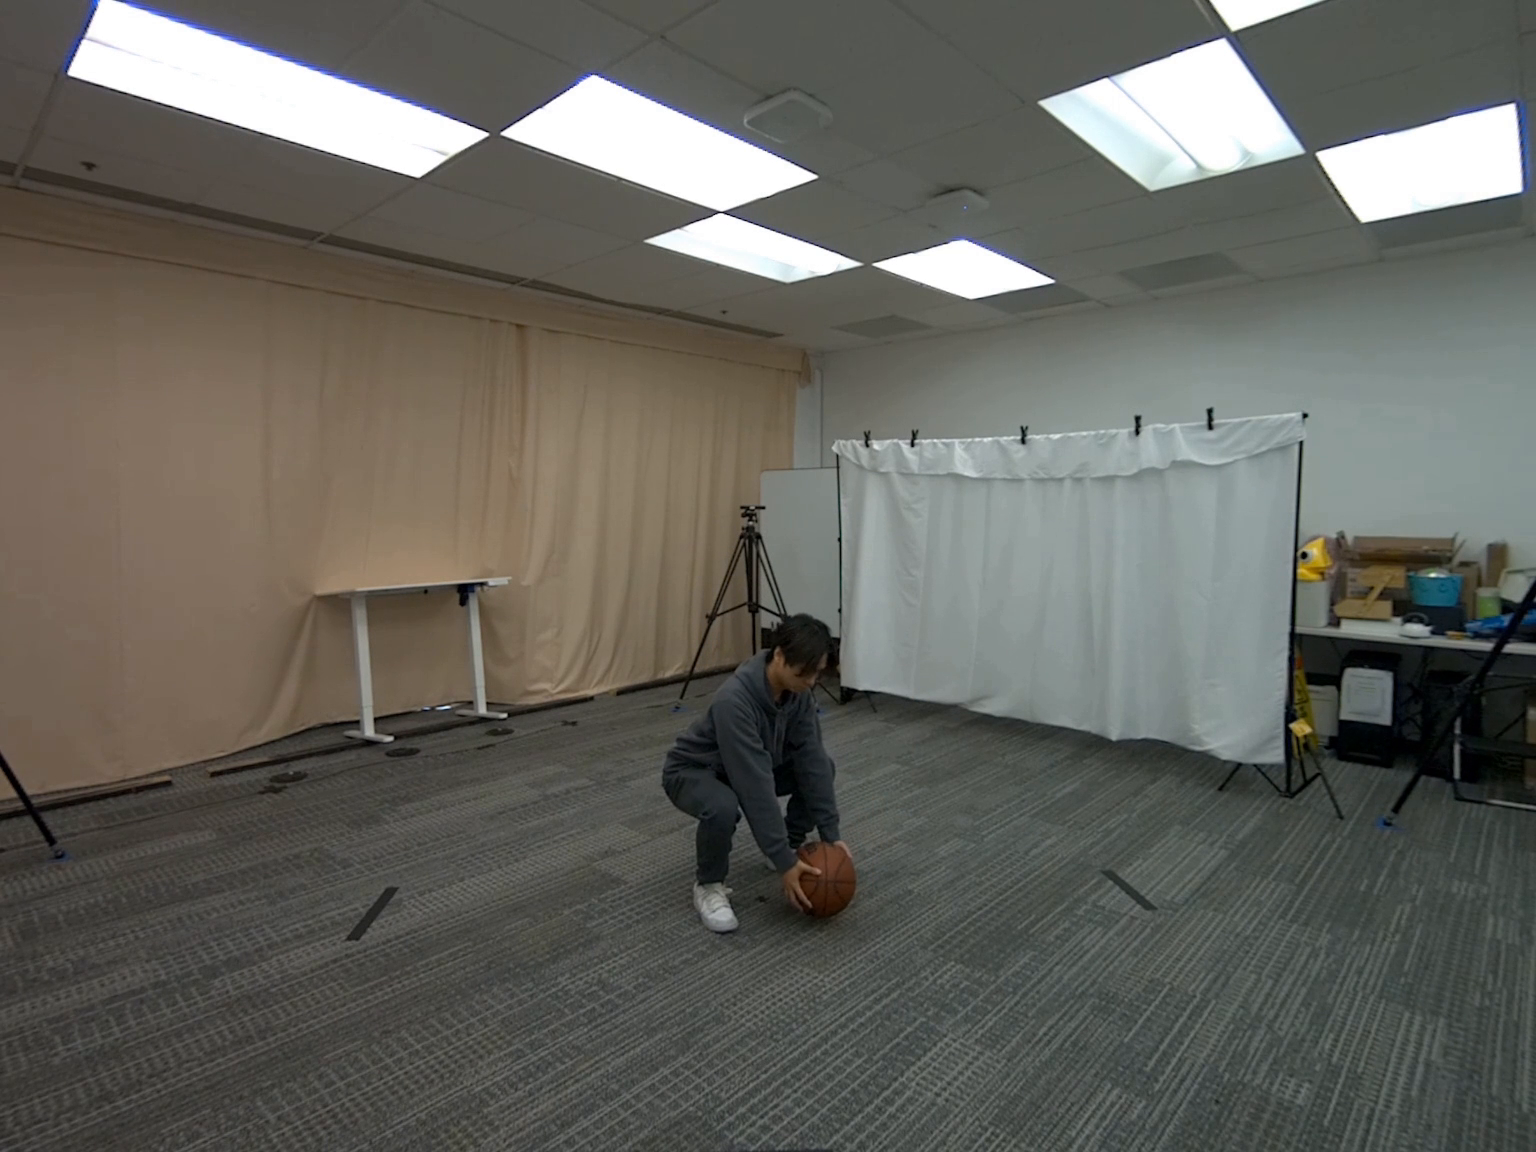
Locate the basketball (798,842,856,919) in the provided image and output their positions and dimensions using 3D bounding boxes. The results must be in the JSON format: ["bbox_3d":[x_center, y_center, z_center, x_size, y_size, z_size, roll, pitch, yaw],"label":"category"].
[{"bbox_3d":[0.177,1.010,2.818,0.236,0.235,0.237,0,4,-2],"label":"basketball"}]
